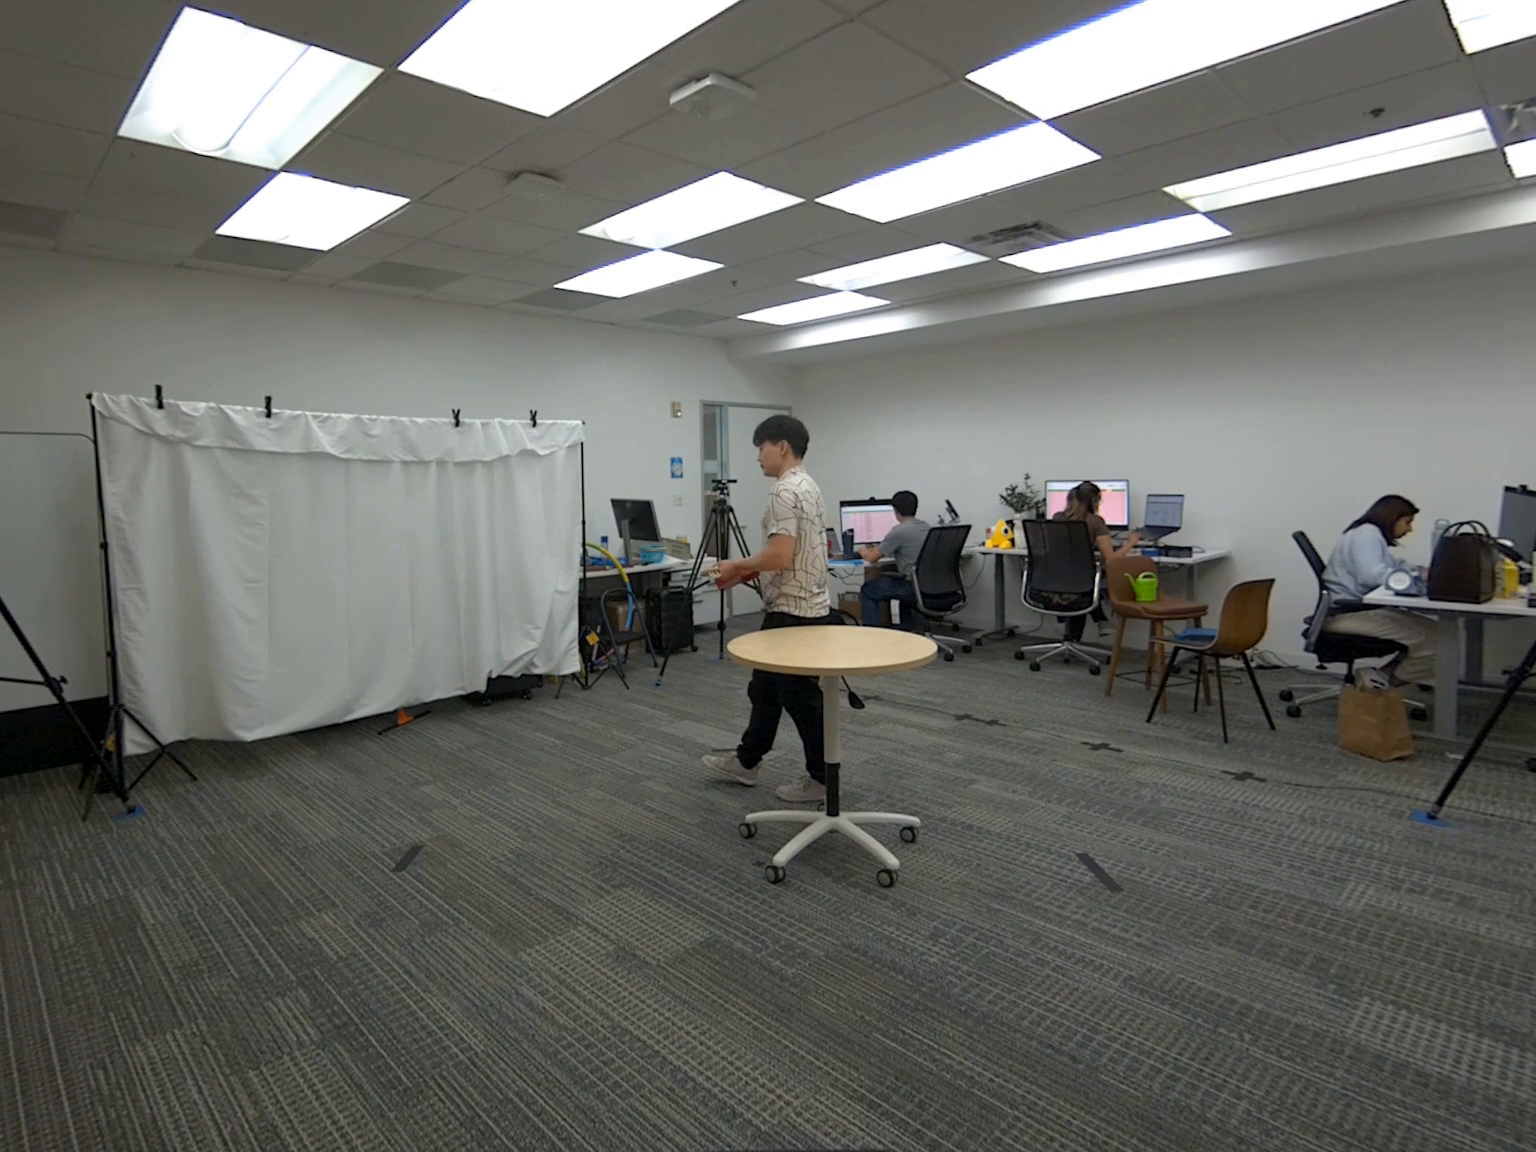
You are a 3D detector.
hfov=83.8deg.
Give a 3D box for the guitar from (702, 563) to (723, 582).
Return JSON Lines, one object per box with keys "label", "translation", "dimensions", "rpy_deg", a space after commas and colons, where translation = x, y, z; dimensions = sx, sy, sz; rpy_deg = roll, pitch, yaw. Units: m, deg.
{"label": "guitar", "translation": [-0.196, 0.007, 3.695], "dimensions": [0.194, 0.071, 0.489], "rpy_deg": [-32, -7, 24]}
